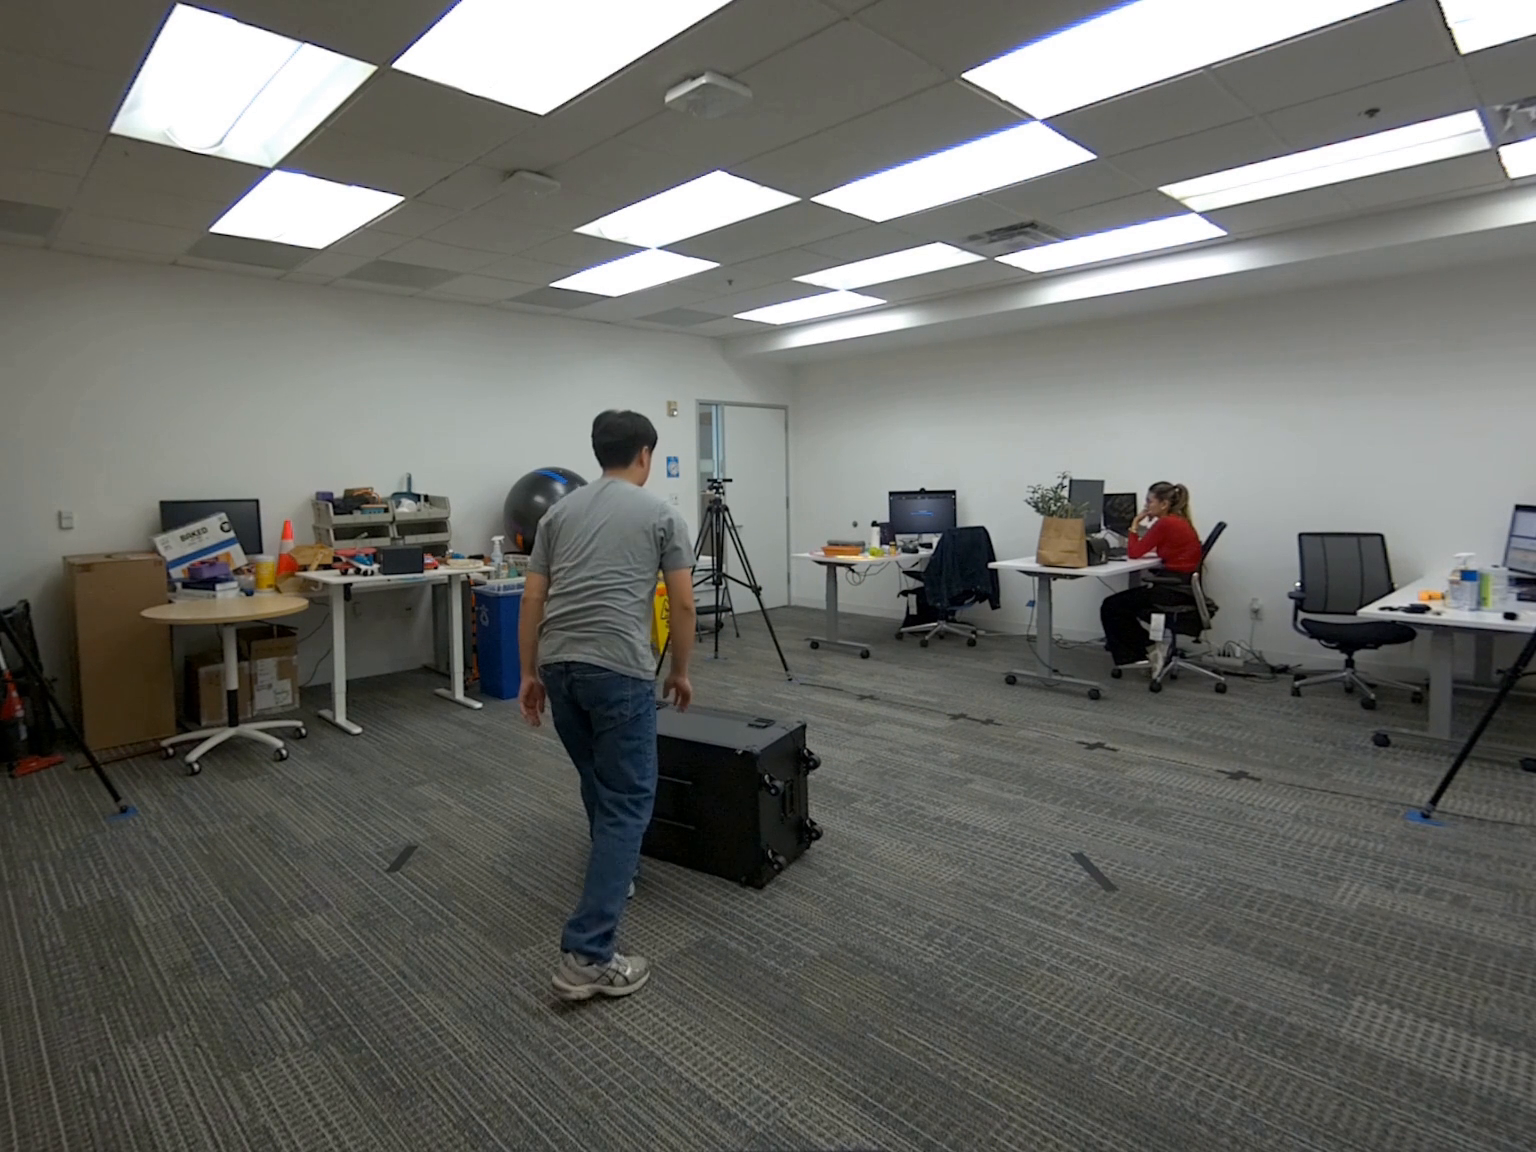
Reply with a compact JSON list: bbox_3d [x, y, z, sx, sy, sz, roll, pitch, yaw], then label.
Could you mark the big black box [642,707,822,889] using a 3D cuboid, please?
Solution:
[{"bbox_3d":[-0.254,0.779,3.210,0.885,0.518,0.388,2,8,33],"label":"big black box"}]
